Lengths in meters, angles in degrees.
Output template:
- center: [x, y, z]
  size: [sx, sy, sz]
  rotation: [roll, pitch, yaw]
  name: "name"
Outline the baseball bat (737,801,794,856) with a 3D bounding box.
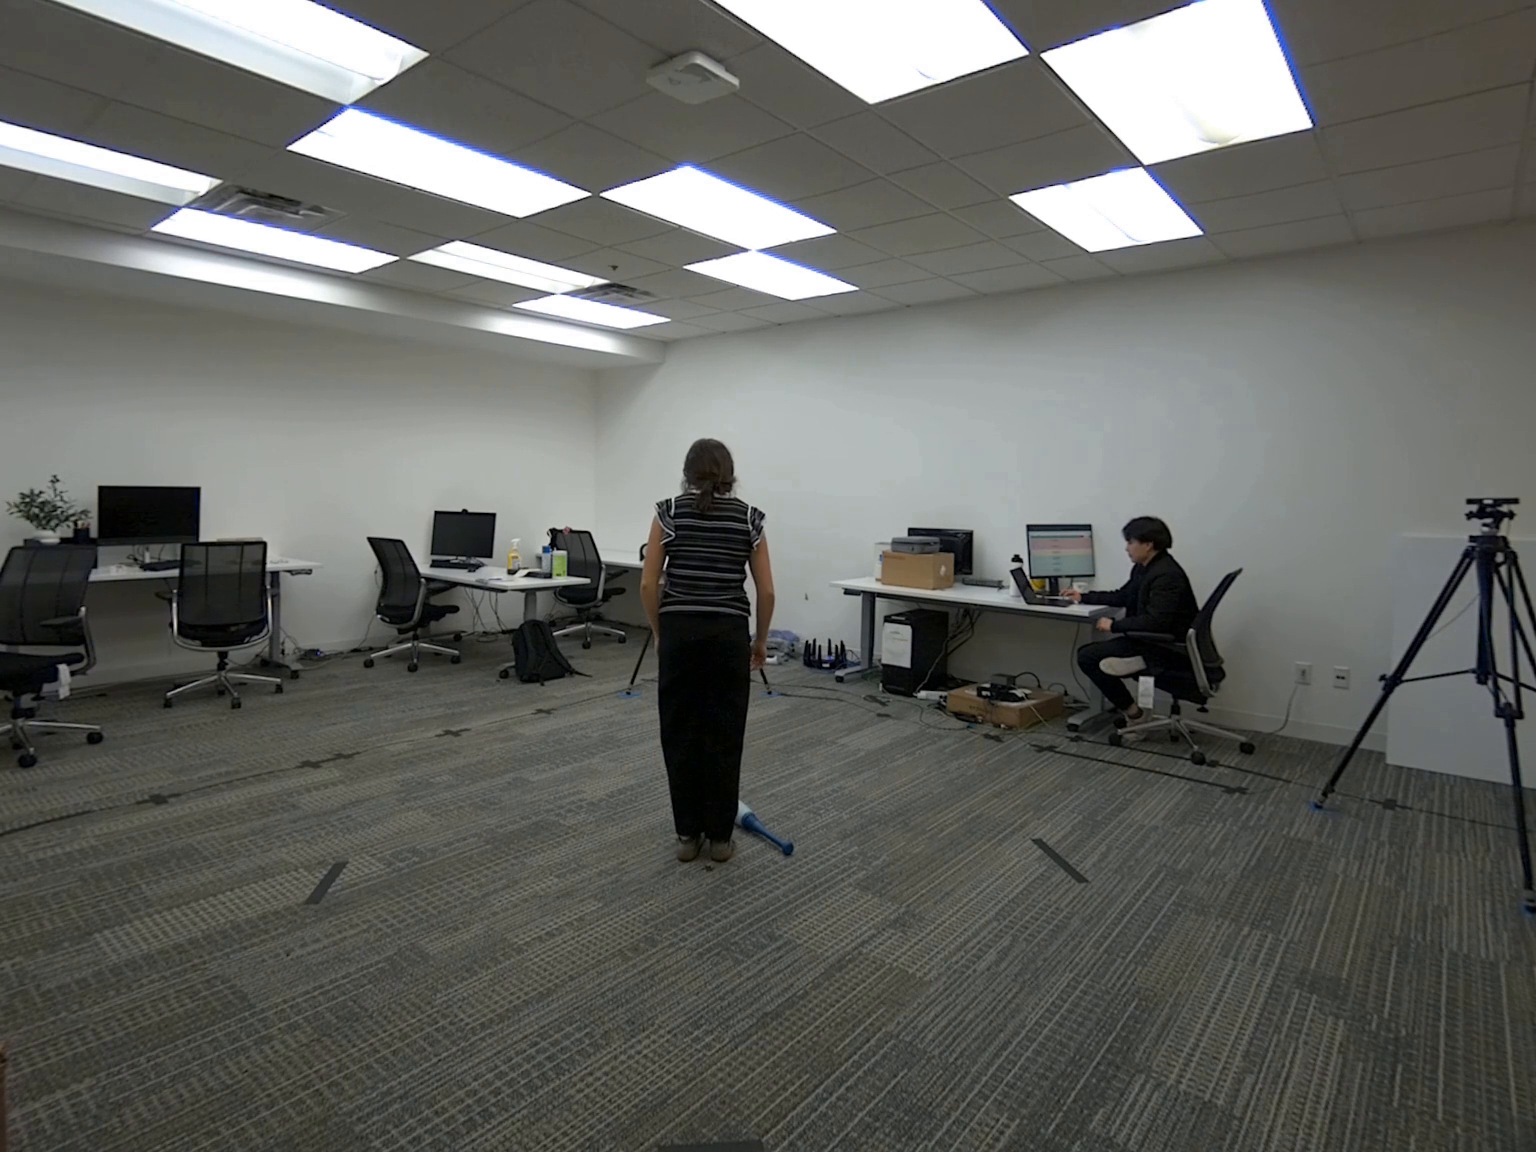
- center: [-0.077, 0.999, 3.466]
  size: [0.086, 0.088, 0.562]
  rotation: [-2, 10, -33]
  name: "baseball bat"
